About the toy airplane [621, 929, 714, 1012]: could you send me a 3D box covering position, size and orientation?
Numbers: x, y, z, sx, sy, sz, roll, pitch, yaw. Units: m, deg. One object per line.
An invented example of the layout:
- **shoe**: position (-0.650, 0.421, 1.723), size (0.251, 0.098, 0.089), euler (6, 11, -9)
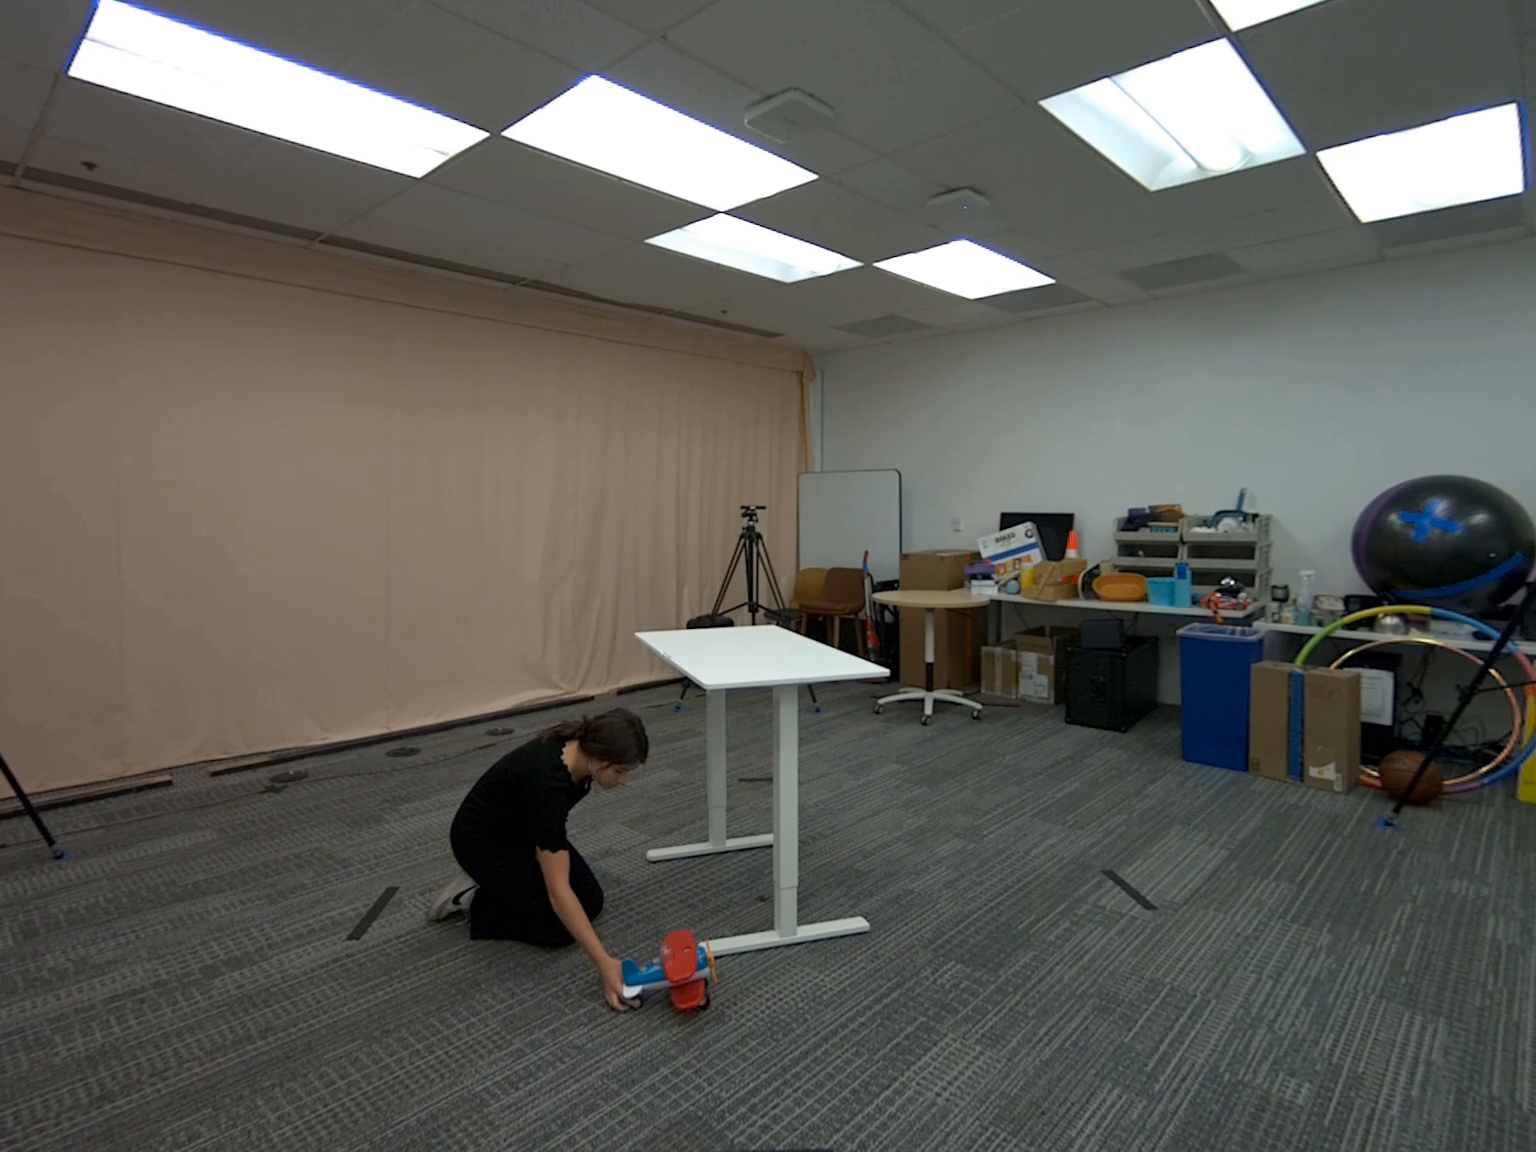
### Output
- **toy airplane**: position (-0.270, 1.125, 2.343), size (0.251, 0.156, 0.259), euler (-2, 4, -36)
